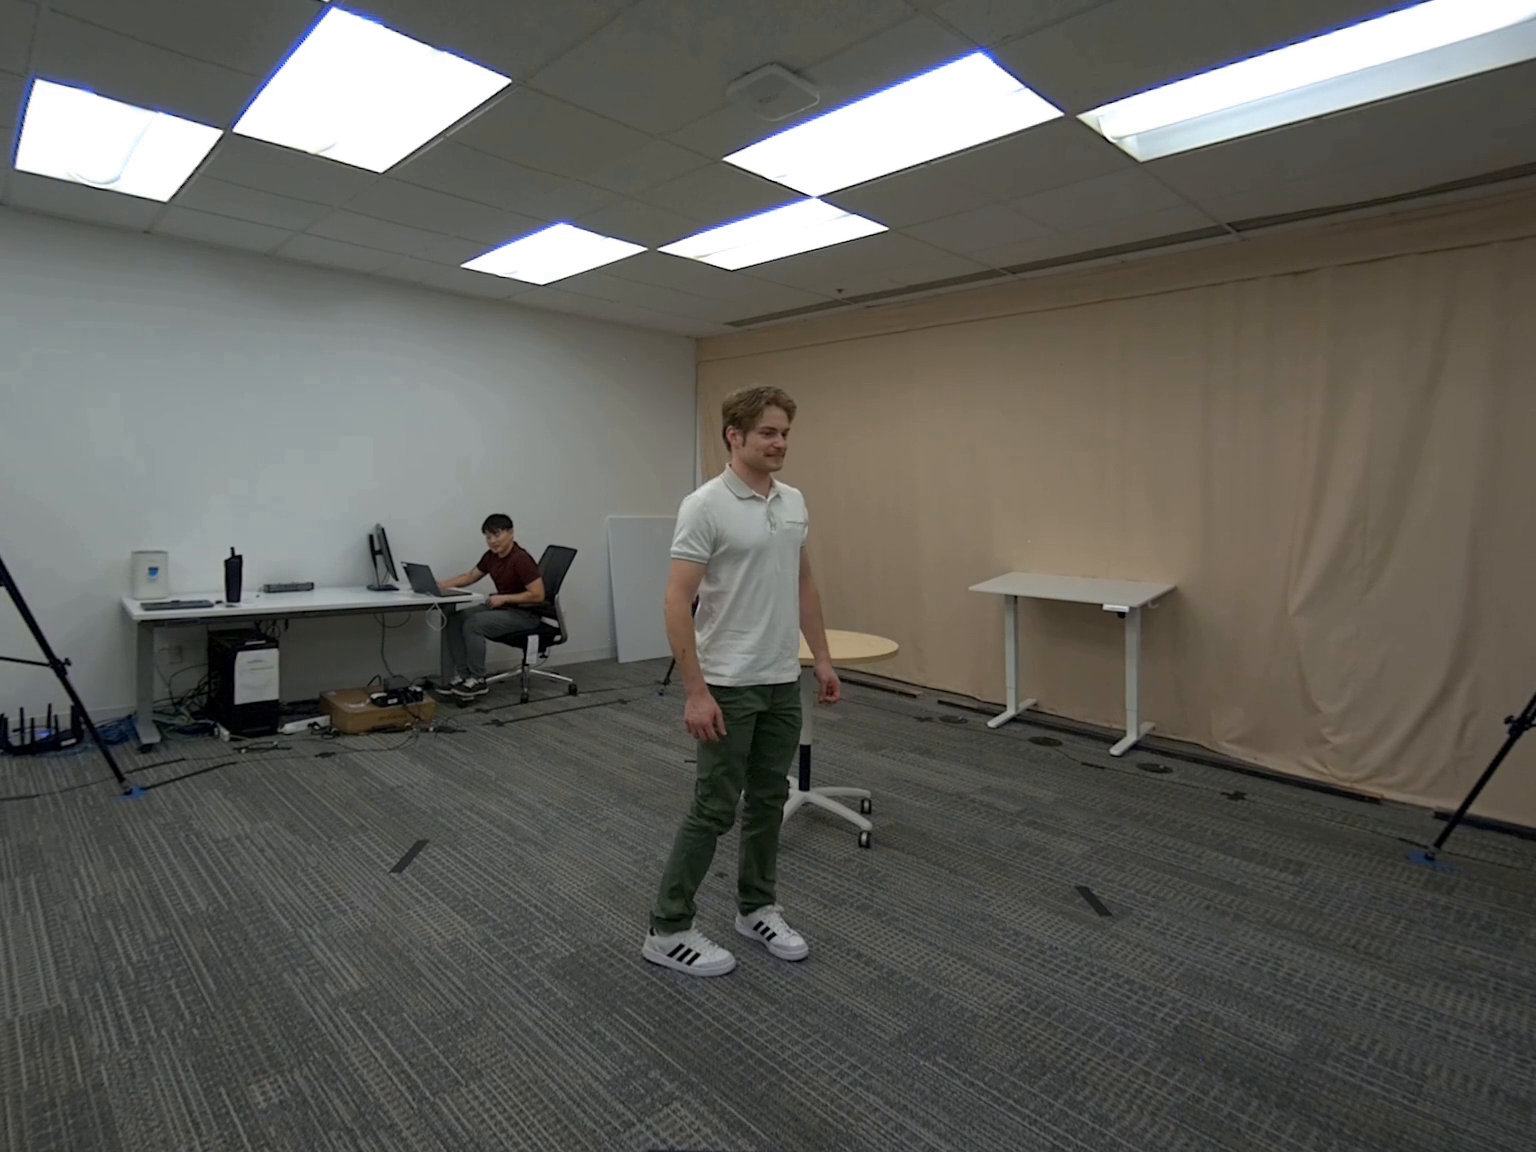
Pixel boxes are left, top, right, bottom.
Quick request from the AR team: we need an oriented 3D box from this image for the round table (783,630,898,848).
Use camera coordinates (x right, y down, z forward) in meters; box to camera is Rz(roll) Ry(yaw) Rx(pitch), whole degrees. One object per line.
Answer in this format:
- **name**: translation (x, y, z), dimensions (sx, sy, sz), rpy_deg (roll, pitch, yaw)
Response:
- **round table**: translation (0.160, 0.680, 3.622), dimensions (0.763, 0.792, 0.766), rpy_deg (1, 4, -1)
